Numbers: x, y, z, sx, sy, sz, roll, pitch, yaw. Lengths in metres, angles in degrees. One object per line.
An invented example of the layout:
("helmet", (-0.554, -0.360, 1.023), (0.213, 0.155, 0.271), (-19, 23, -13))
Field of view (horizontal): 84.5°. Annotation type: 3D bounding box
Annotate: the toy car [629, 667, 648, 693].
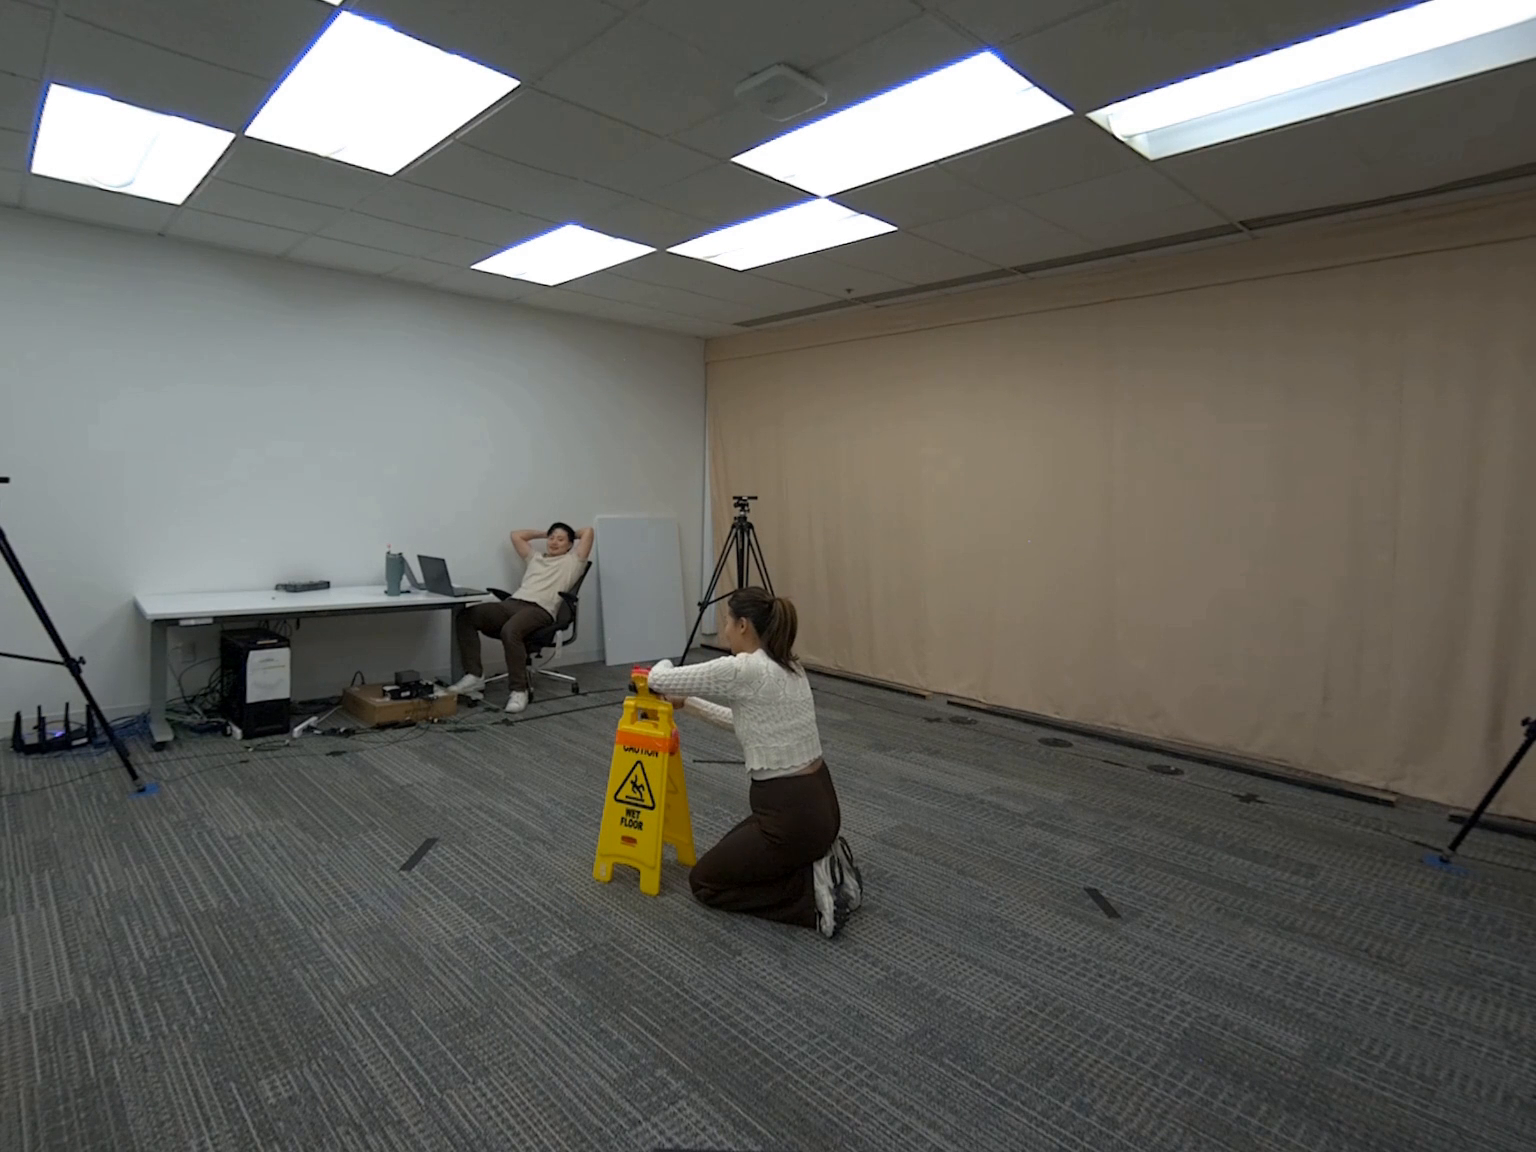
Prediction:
("toy car", (-0.436, 0.446, 3.111), (0.133, 0.251, 0.083), (1, 19, 27))
